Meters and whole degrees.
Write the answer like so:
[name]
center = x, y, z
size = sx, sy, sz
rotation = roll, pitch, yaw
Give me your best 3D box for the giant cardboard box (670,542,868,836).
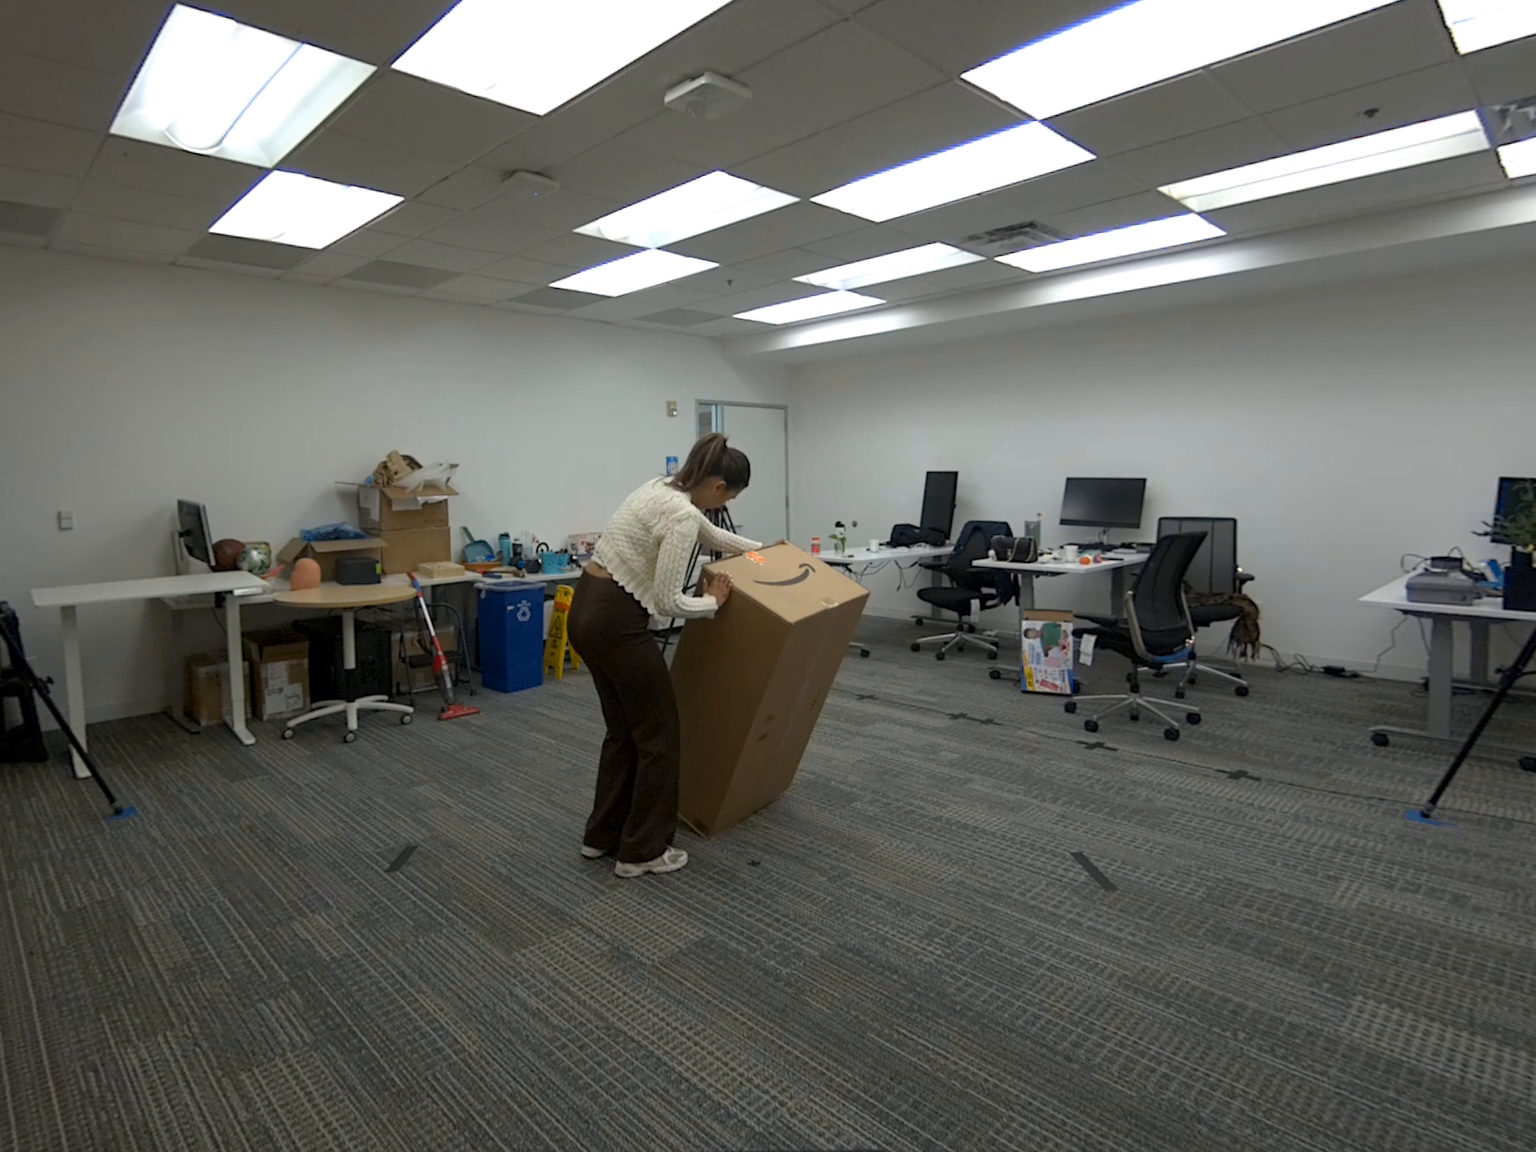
[giant cardboard box]
center = -0.070, 0.446, 3.444
size = 0.440, 1.013, 0.565
rotation = 32, 27, 28
